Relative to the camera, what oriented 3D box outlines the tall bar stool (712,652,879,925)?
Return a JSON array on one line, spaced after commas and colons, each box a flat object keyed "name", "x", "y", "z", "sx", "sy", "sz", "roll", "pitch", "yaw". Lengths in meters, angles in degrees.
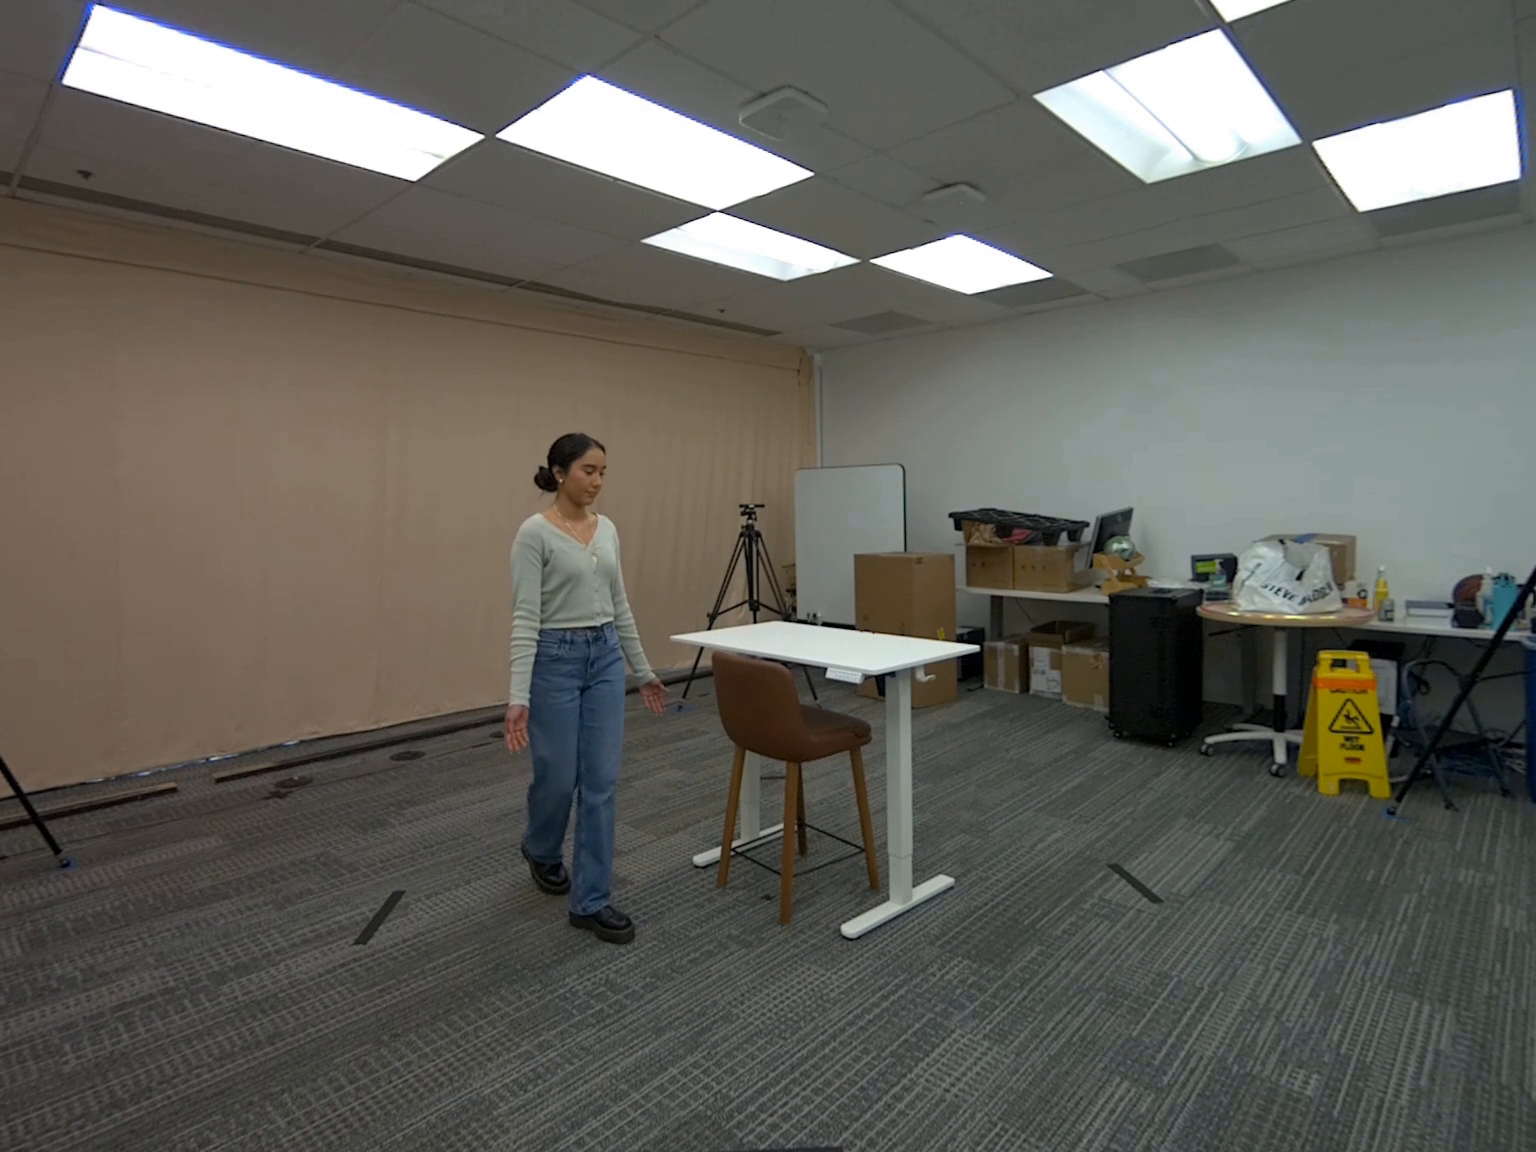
[{"name": "tall bar stool", "x": 0.091, "y": 0.701, "z": 3.032, "sx": 0.454, "sy": 0.886, "sz": 0.471, "roll": -6, "pitch": 7, "yaw": -39}]
